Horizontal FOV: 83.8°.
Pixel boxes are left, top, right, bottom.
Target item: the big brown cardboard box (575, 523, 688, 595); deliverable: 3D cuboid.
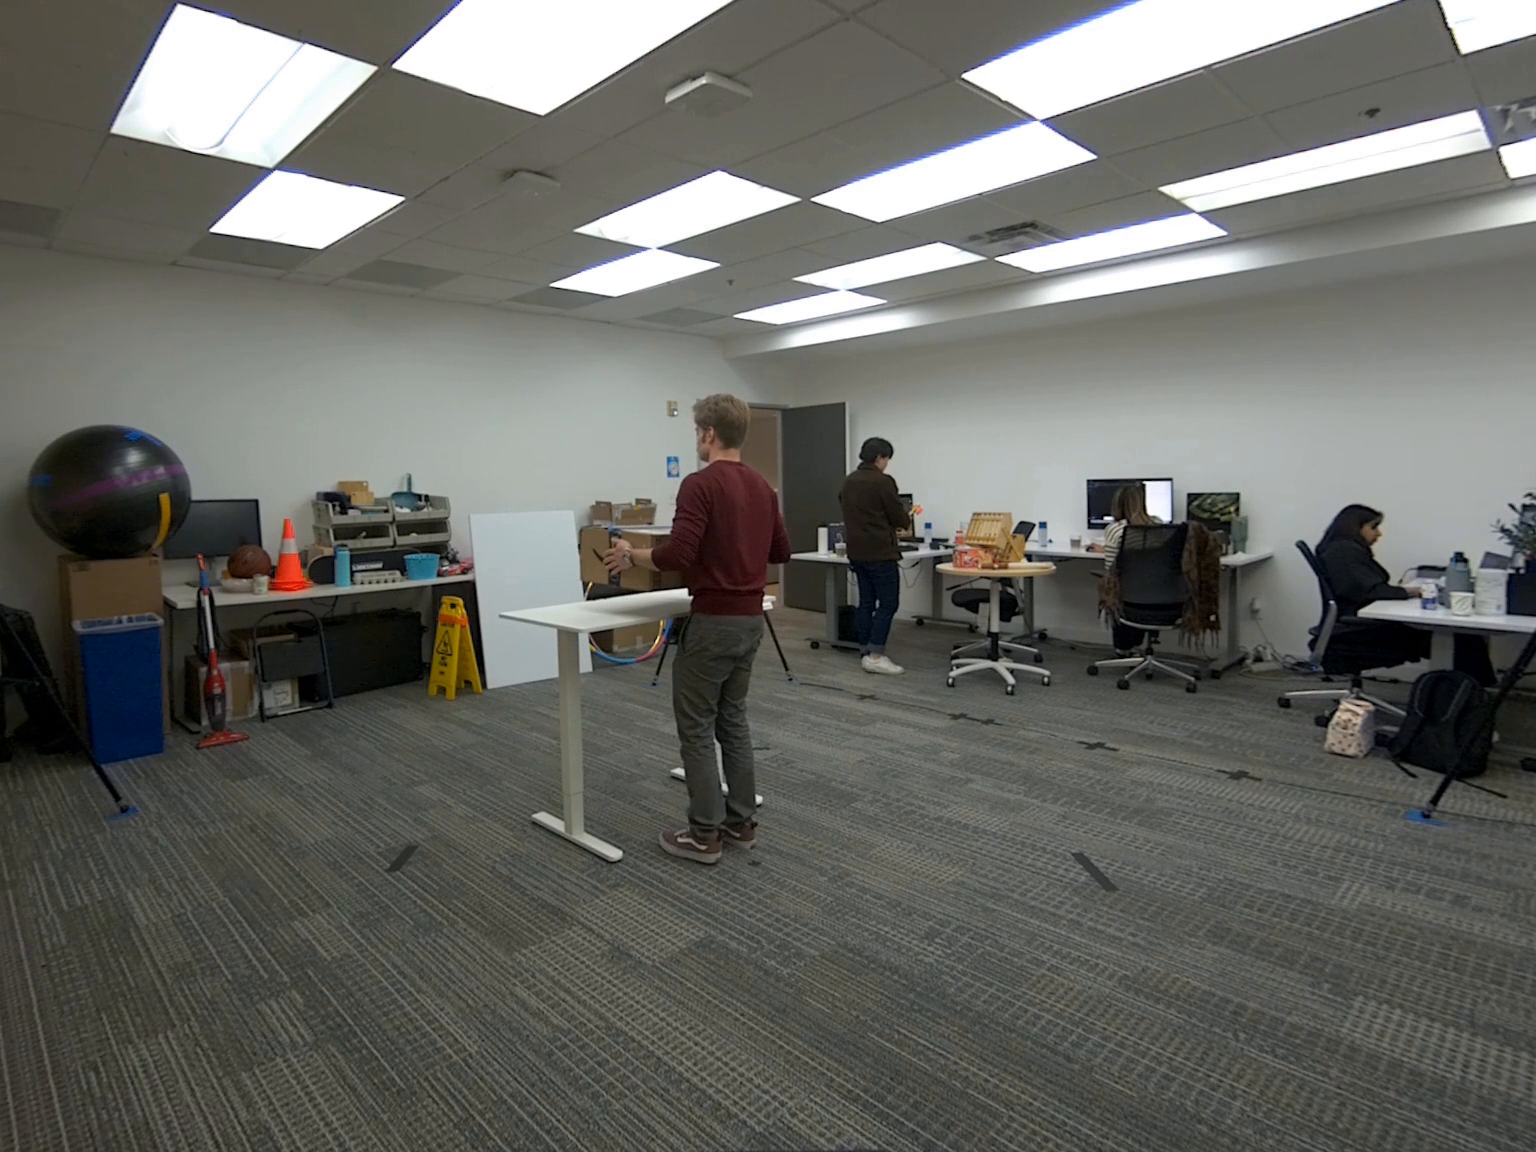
[{"bbox_3d":[-0.410,-0.086,3.451,0.431,0.232,0.573,7,7,41],"label":"big brown cardboard box"}]
